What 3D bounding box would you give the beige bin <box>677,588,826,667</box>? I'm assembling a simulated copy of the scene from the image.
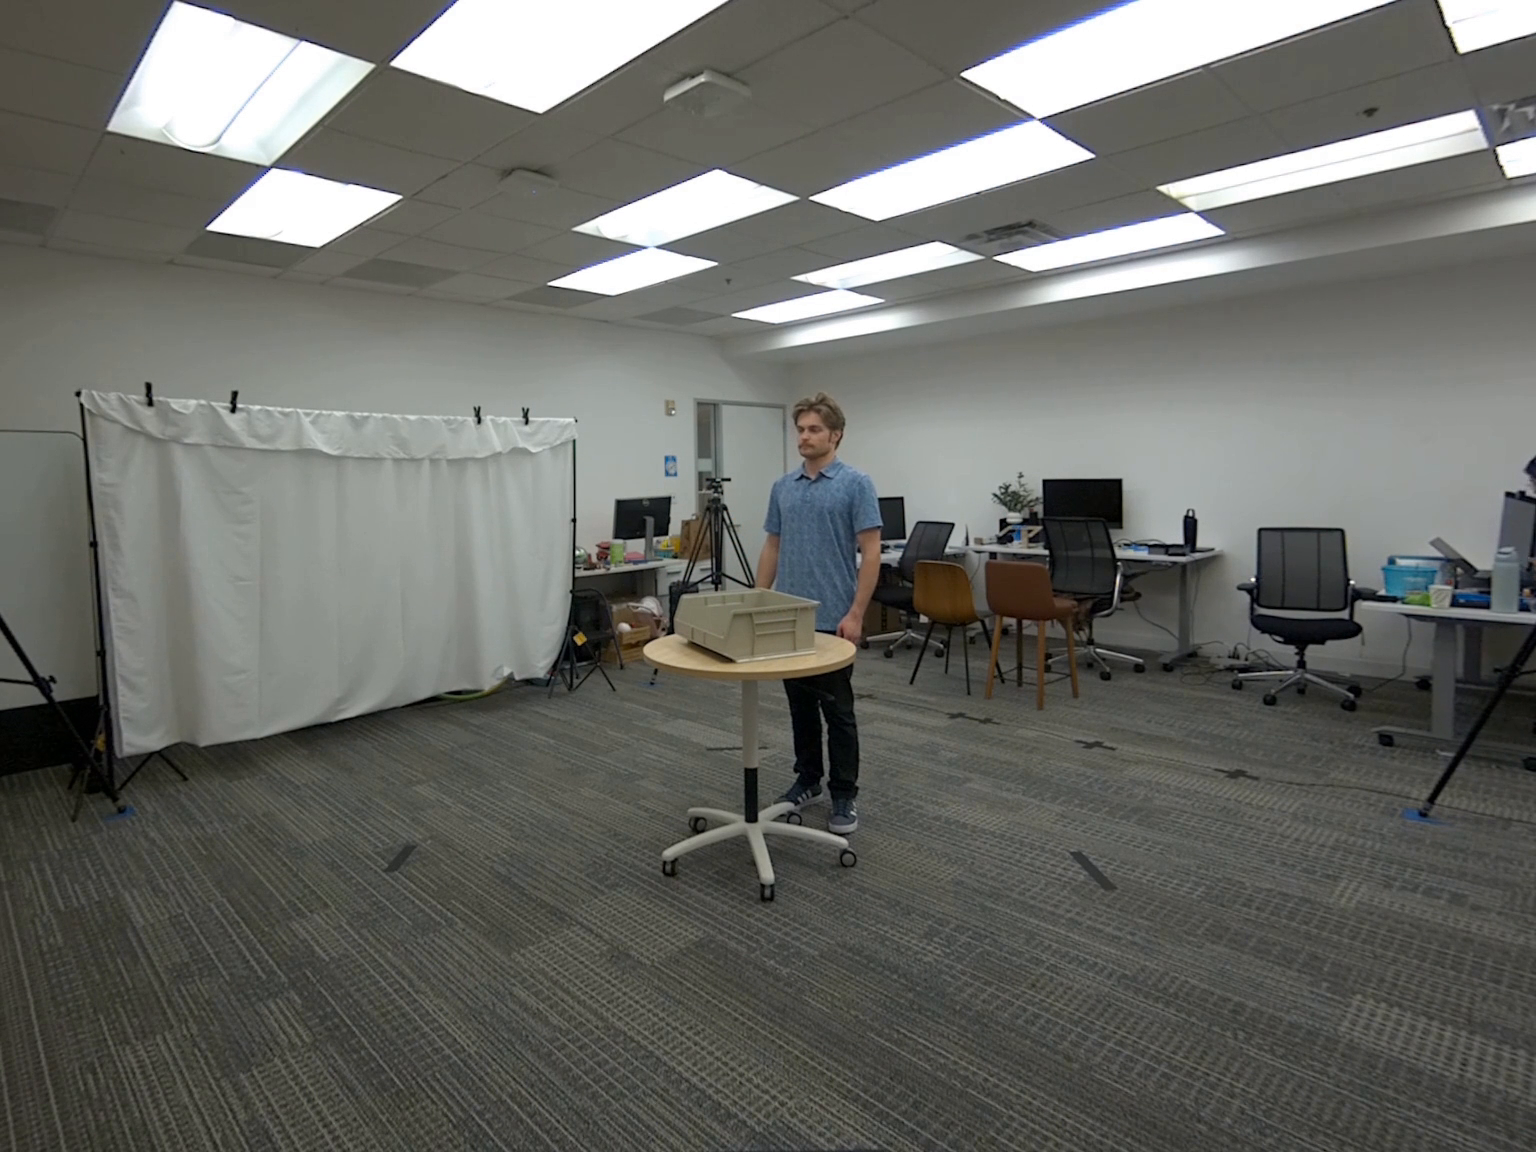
[{"bbox_3d":[-0.071,0.170,3.066,0.369,0.188,0.433,-3,7,-27],"label":"beige bin"}]
